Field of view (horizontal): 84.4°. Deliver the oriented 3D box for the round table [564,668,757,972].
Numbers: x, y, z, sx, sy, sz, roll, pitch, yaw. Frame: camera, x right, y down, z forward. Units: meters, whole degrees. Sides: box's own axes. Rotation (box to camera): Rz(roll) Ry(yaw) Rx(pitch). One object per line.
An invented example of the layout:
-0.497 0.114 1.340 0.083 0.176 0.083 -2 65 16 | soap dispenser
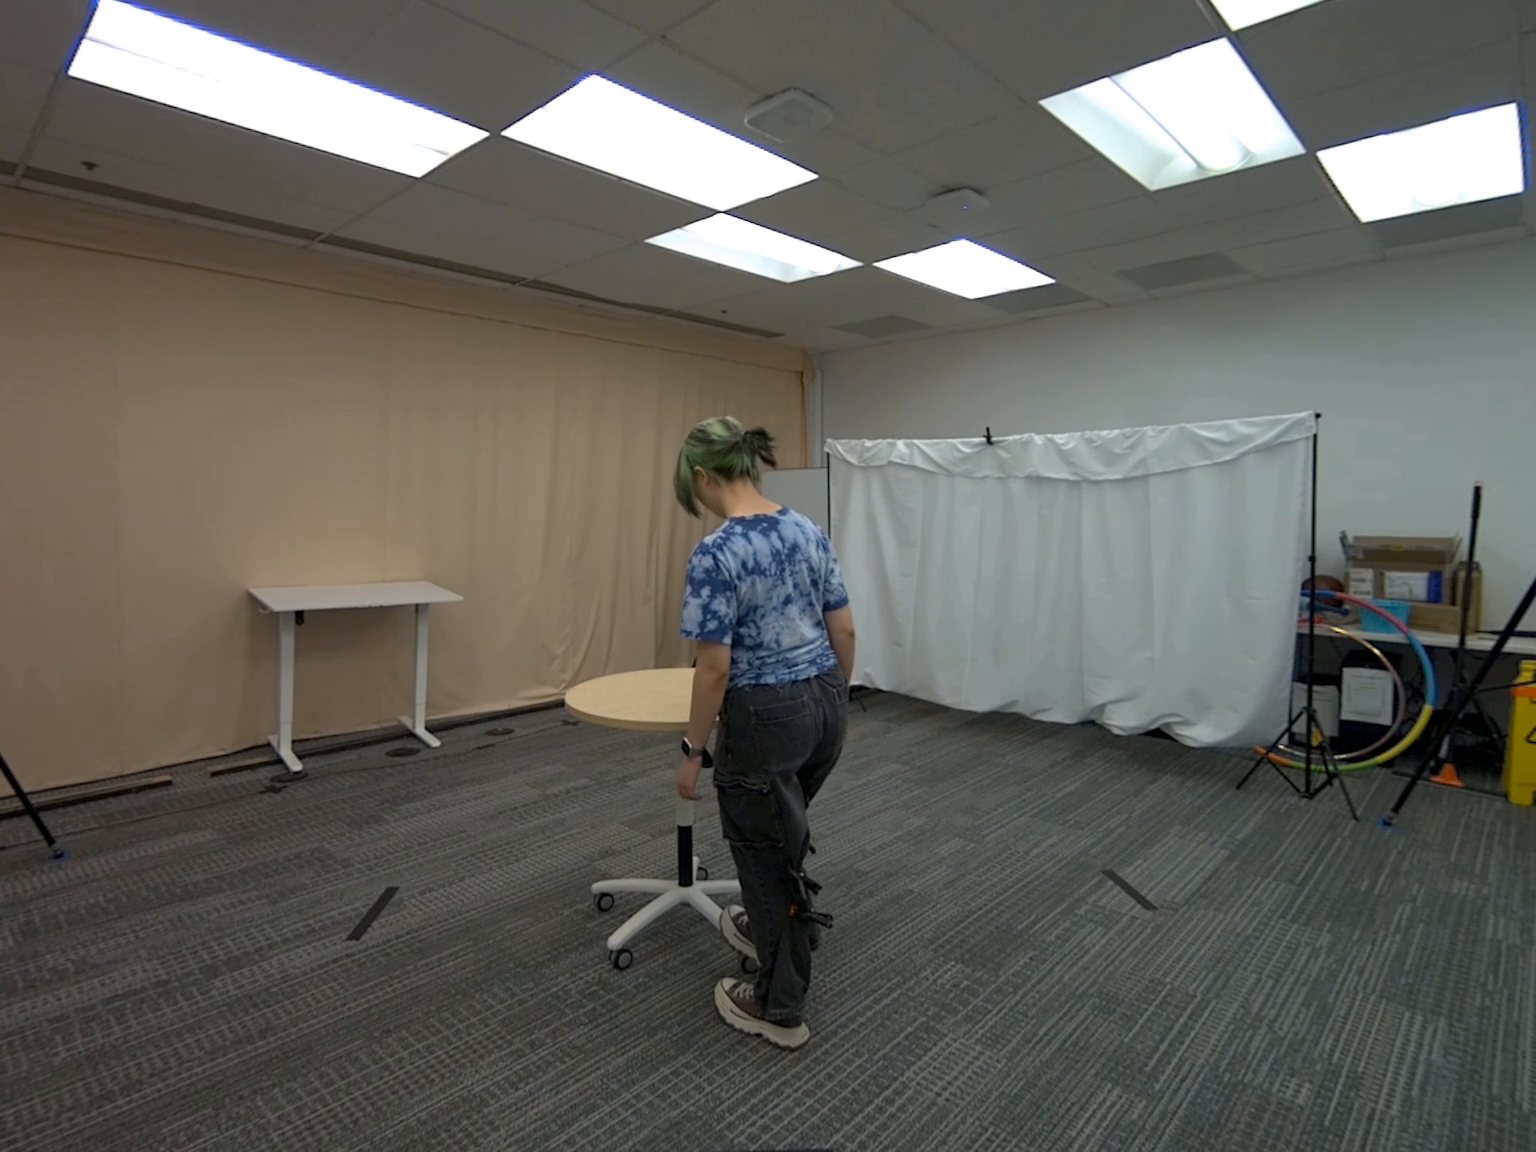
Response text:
-0.274 0.774 2.776 0.763 0.792 0.766 -1 4 -2 | round table
